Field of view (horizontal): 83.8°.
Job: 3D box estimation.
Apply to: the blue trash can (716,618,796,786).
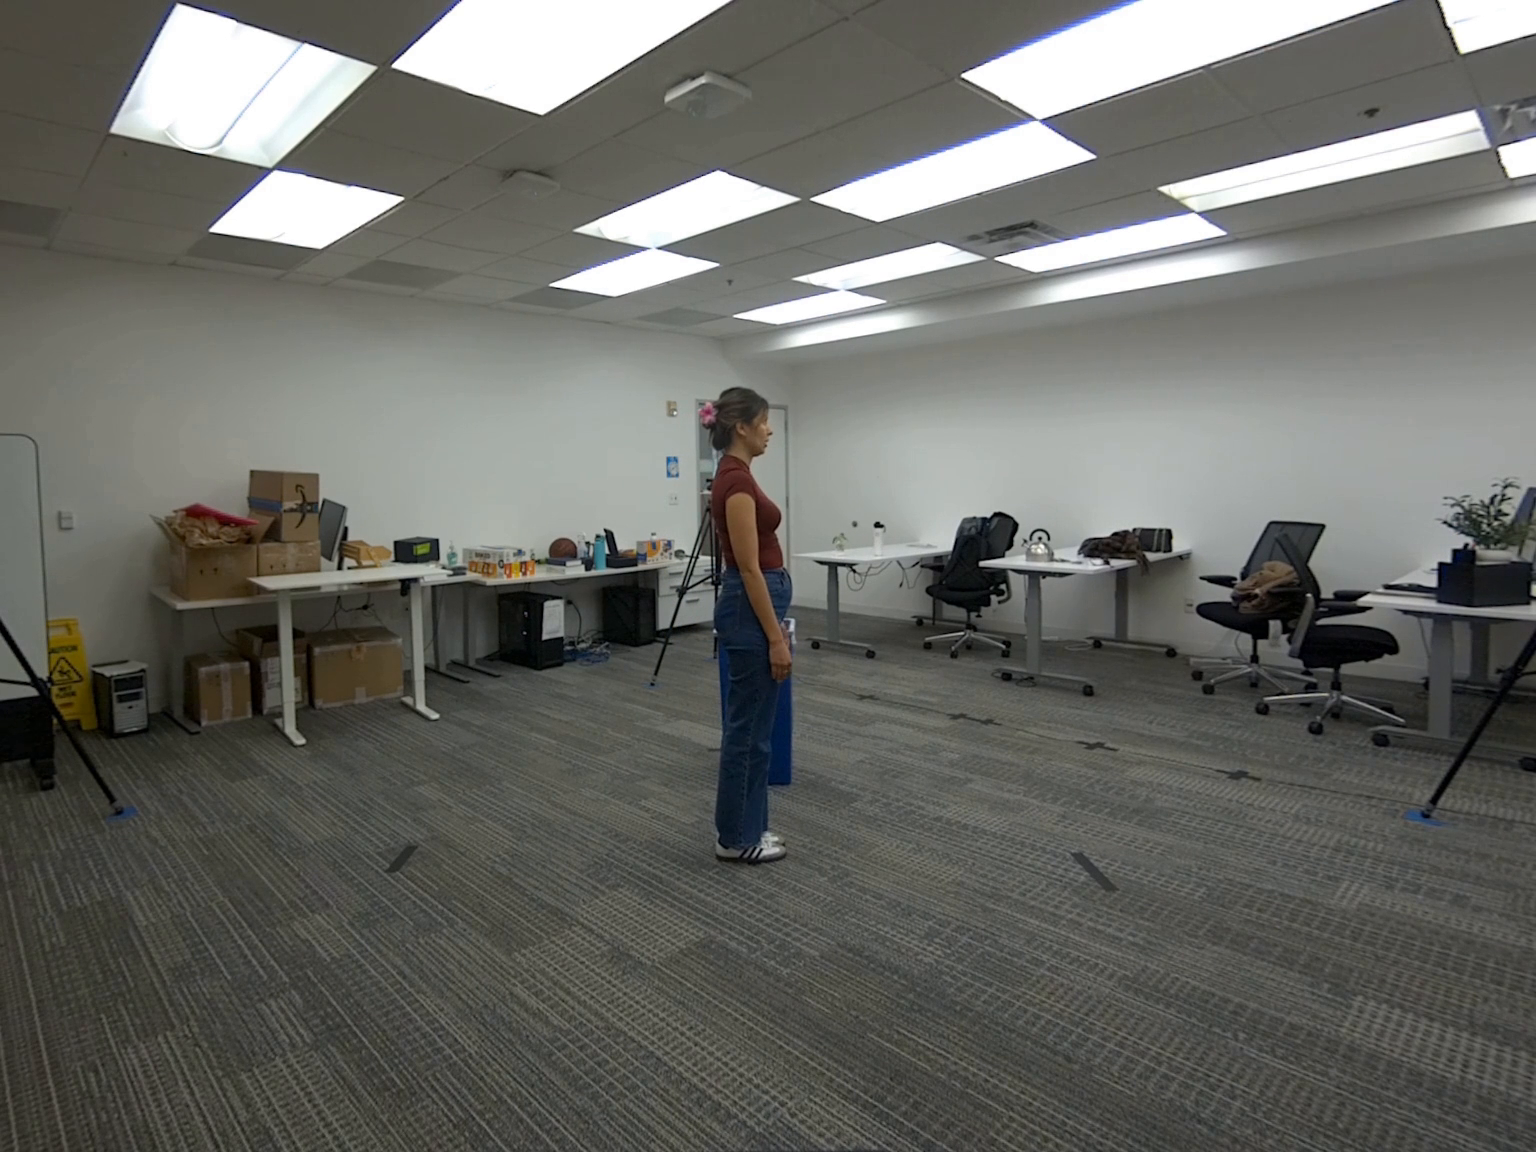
[{"bbox_3d":[-0.052,0.587,4.034,0.376,0.711,0.378,-1,3,4],"label":"blue trash can"}]
